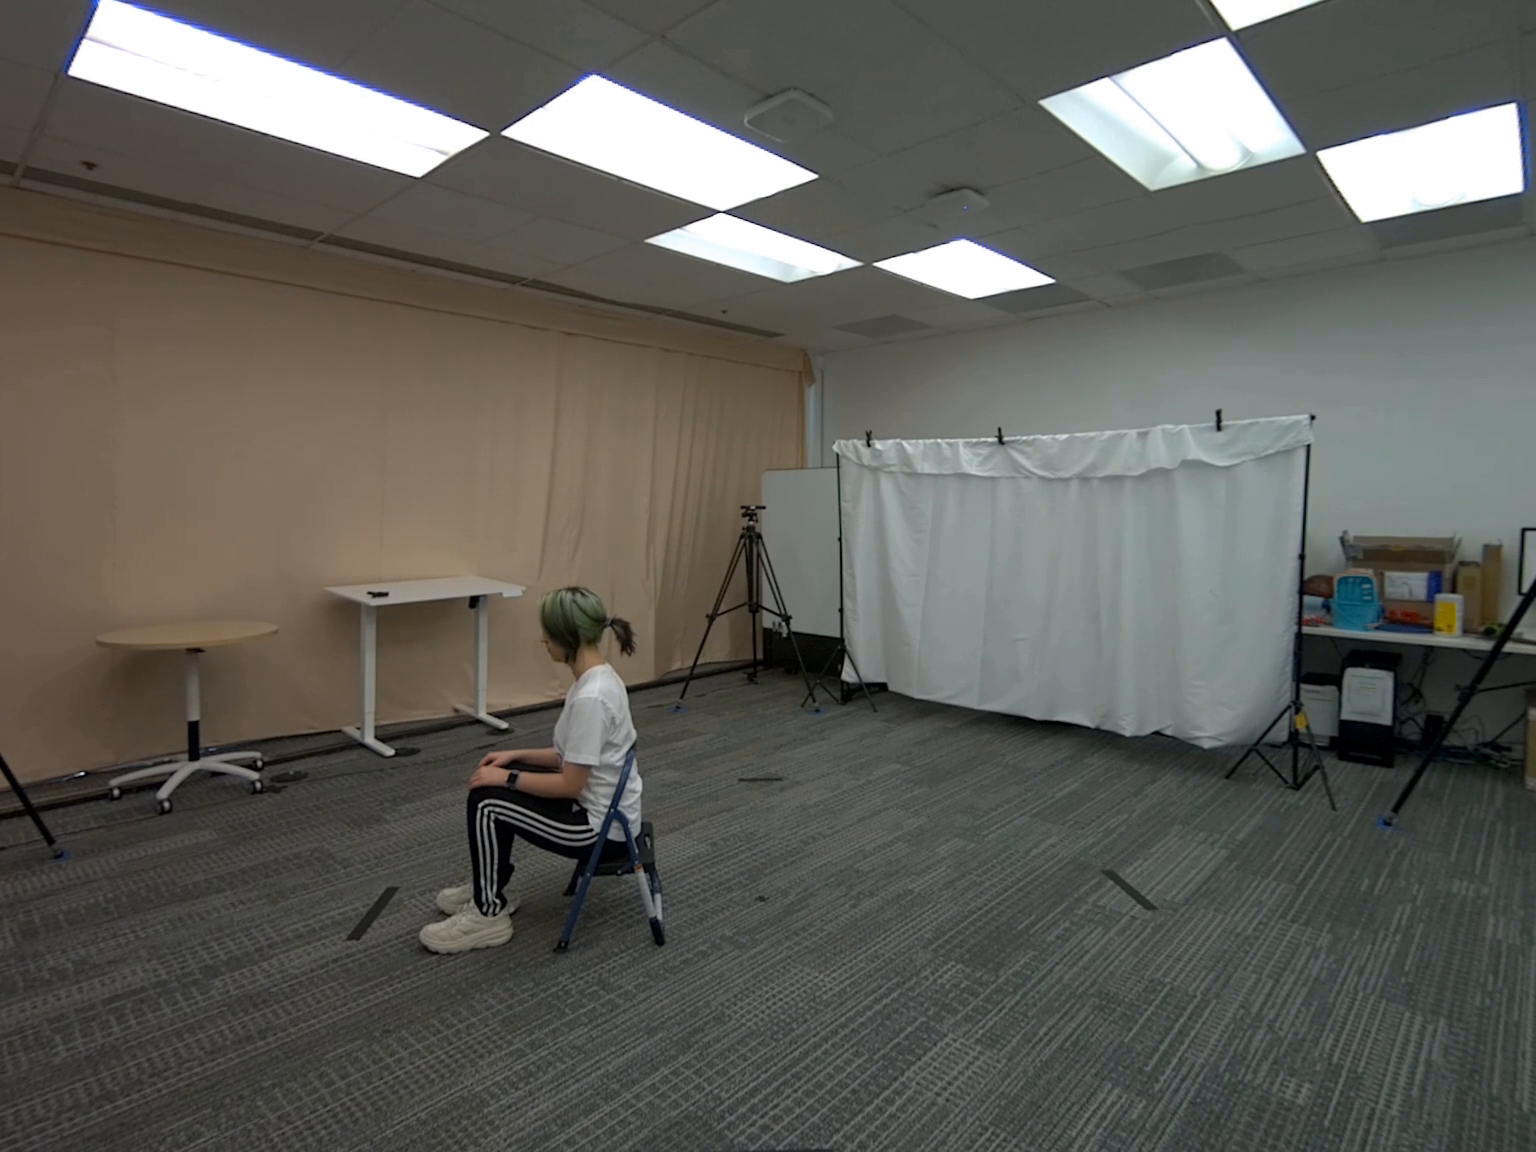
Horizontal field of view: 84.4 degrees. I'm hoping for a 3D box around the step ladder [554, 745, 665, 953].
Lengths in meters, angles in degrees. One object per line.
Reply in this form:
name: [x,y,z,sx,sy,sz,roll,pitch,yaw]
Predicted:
step ladder: [-0.531,0.866,2.833,0.346,0.605,0.435,-2,3,-8]
